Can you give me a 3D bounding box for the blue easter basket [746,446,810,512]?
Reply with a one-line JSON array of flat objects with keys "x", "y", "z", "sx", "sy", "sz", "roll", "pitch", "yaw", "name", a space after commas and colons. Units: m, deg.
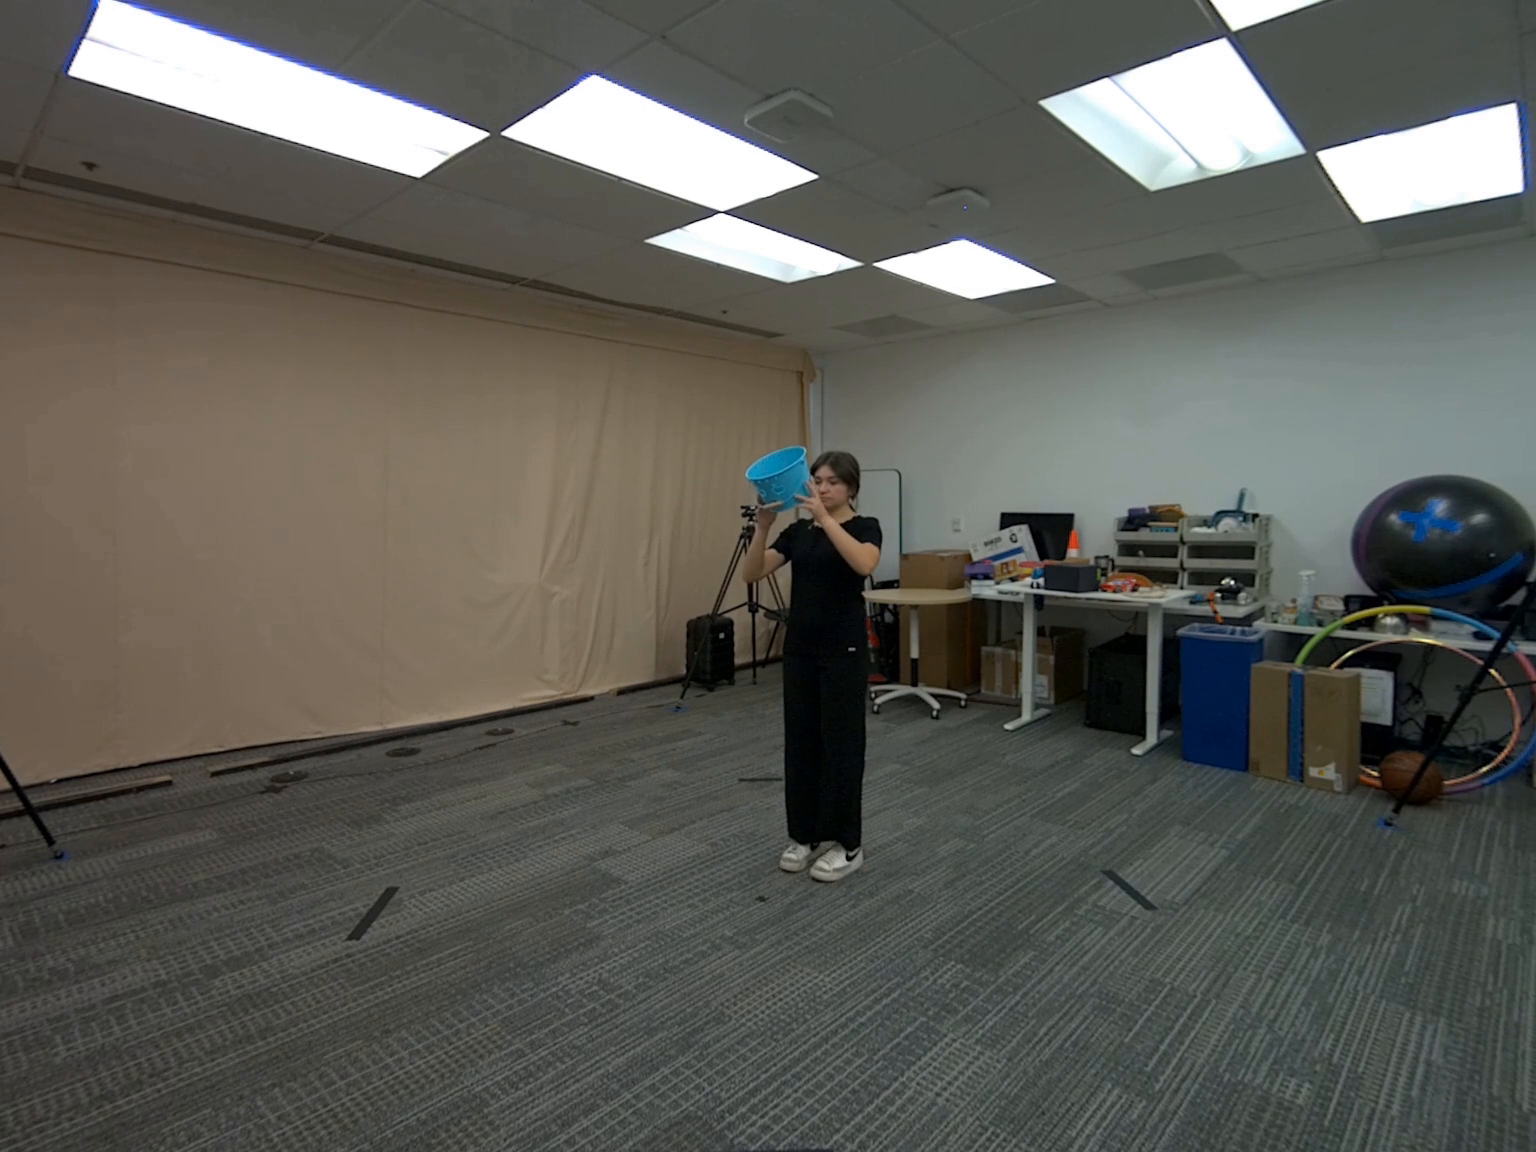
[{"x": 0.044, "y": -0.338, "z": 3.022, "sx": 0.245, "sy": 0.153, "sz": 0.247, "roll": -23, "pitch": 22, "yaw": 7, "name": "blue easter basket"}]
